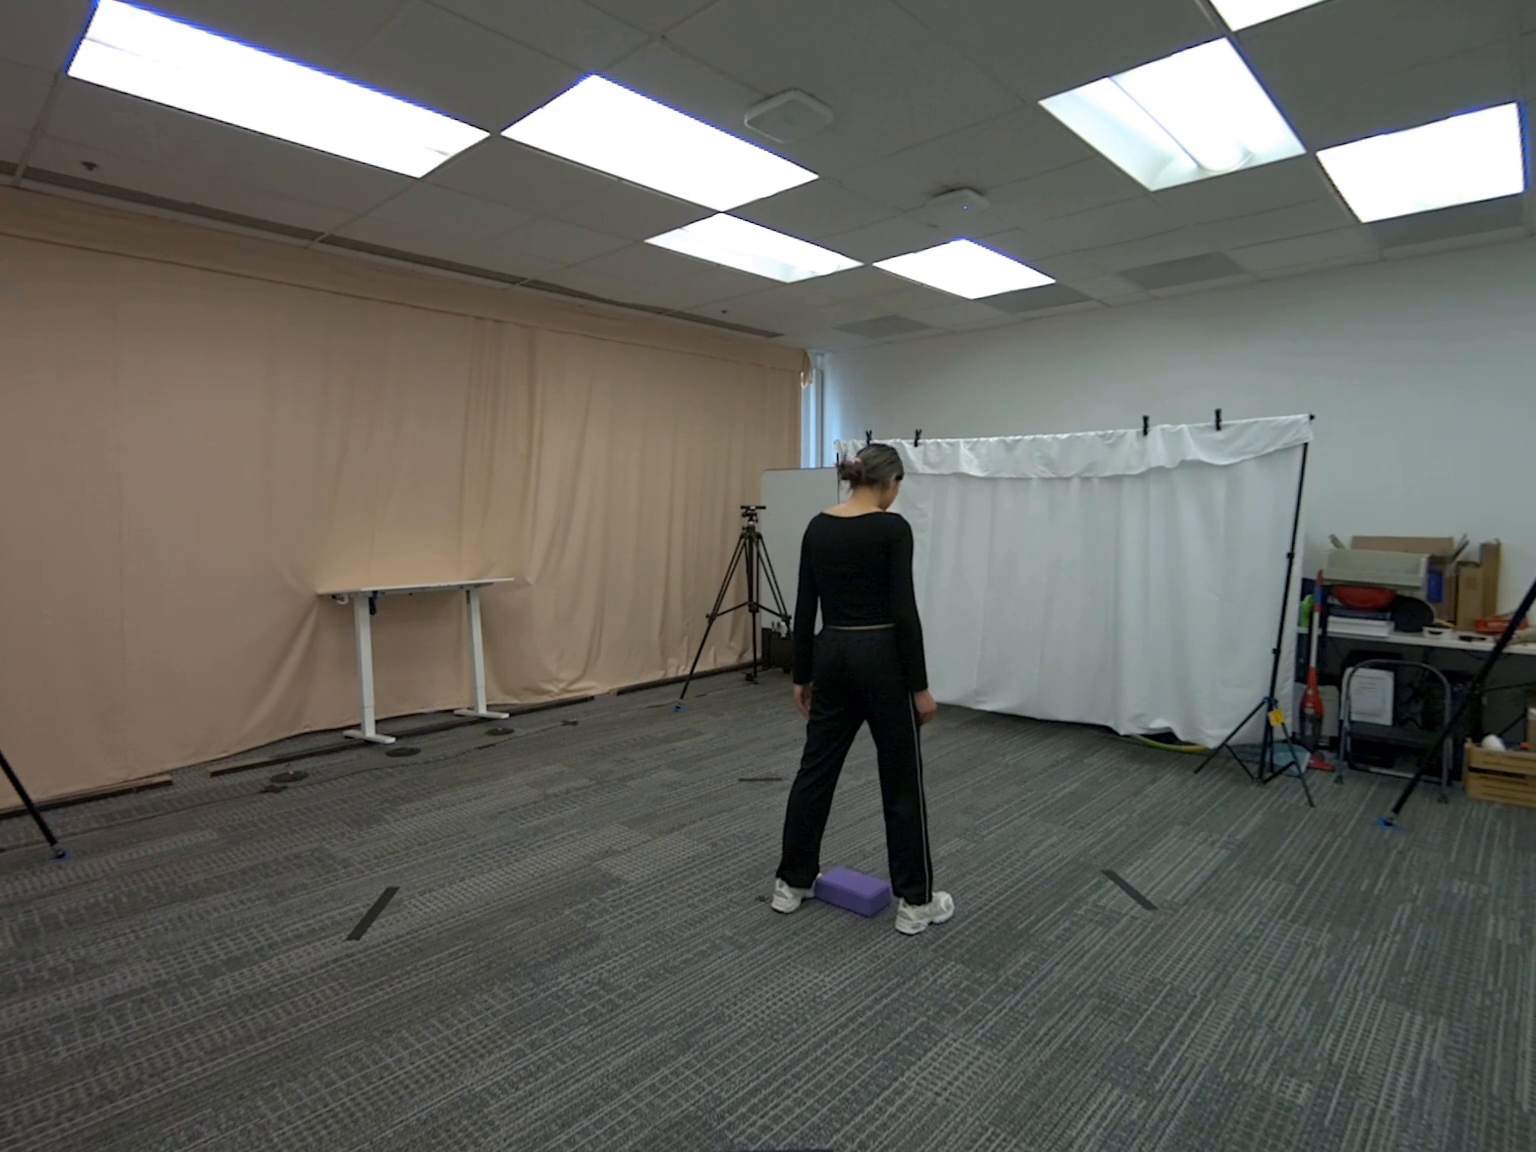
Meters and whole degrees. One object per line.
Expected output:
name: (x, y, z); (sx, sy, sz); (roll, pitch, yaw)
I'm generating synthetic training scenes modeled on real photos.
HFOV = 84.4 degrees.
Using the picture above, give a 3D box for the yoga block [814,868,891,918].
yoga block: (0.305, 1.102, 2.949); (0.237, 0.076, 0.144); (4, 6, 39)
